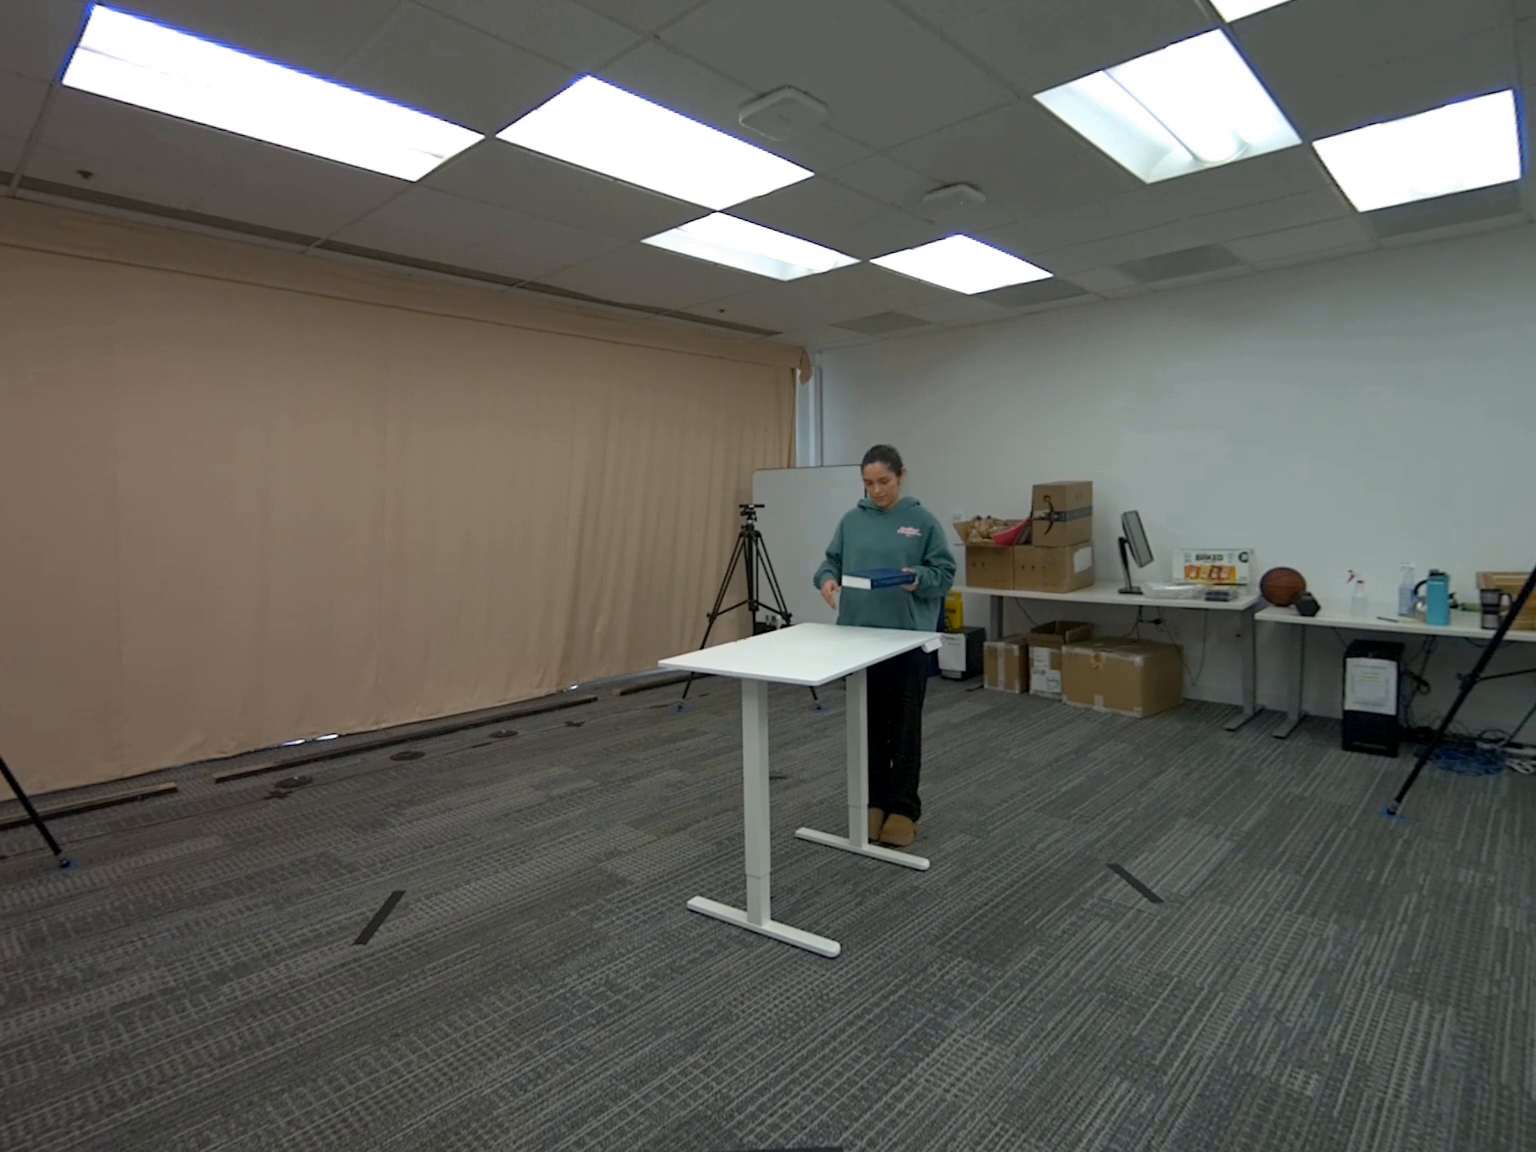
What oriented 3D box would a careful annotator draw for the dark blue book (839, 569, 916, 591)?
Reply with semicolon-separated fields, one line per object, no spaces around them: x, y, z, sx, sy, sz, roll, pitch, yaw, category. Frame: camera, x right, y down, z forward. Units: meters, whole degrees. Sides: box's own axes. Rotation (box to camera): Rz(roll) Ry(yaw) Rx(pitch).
0.441;0.012;3.236;0.238;0.045;0.169;-8;10;-41;dark blue book
